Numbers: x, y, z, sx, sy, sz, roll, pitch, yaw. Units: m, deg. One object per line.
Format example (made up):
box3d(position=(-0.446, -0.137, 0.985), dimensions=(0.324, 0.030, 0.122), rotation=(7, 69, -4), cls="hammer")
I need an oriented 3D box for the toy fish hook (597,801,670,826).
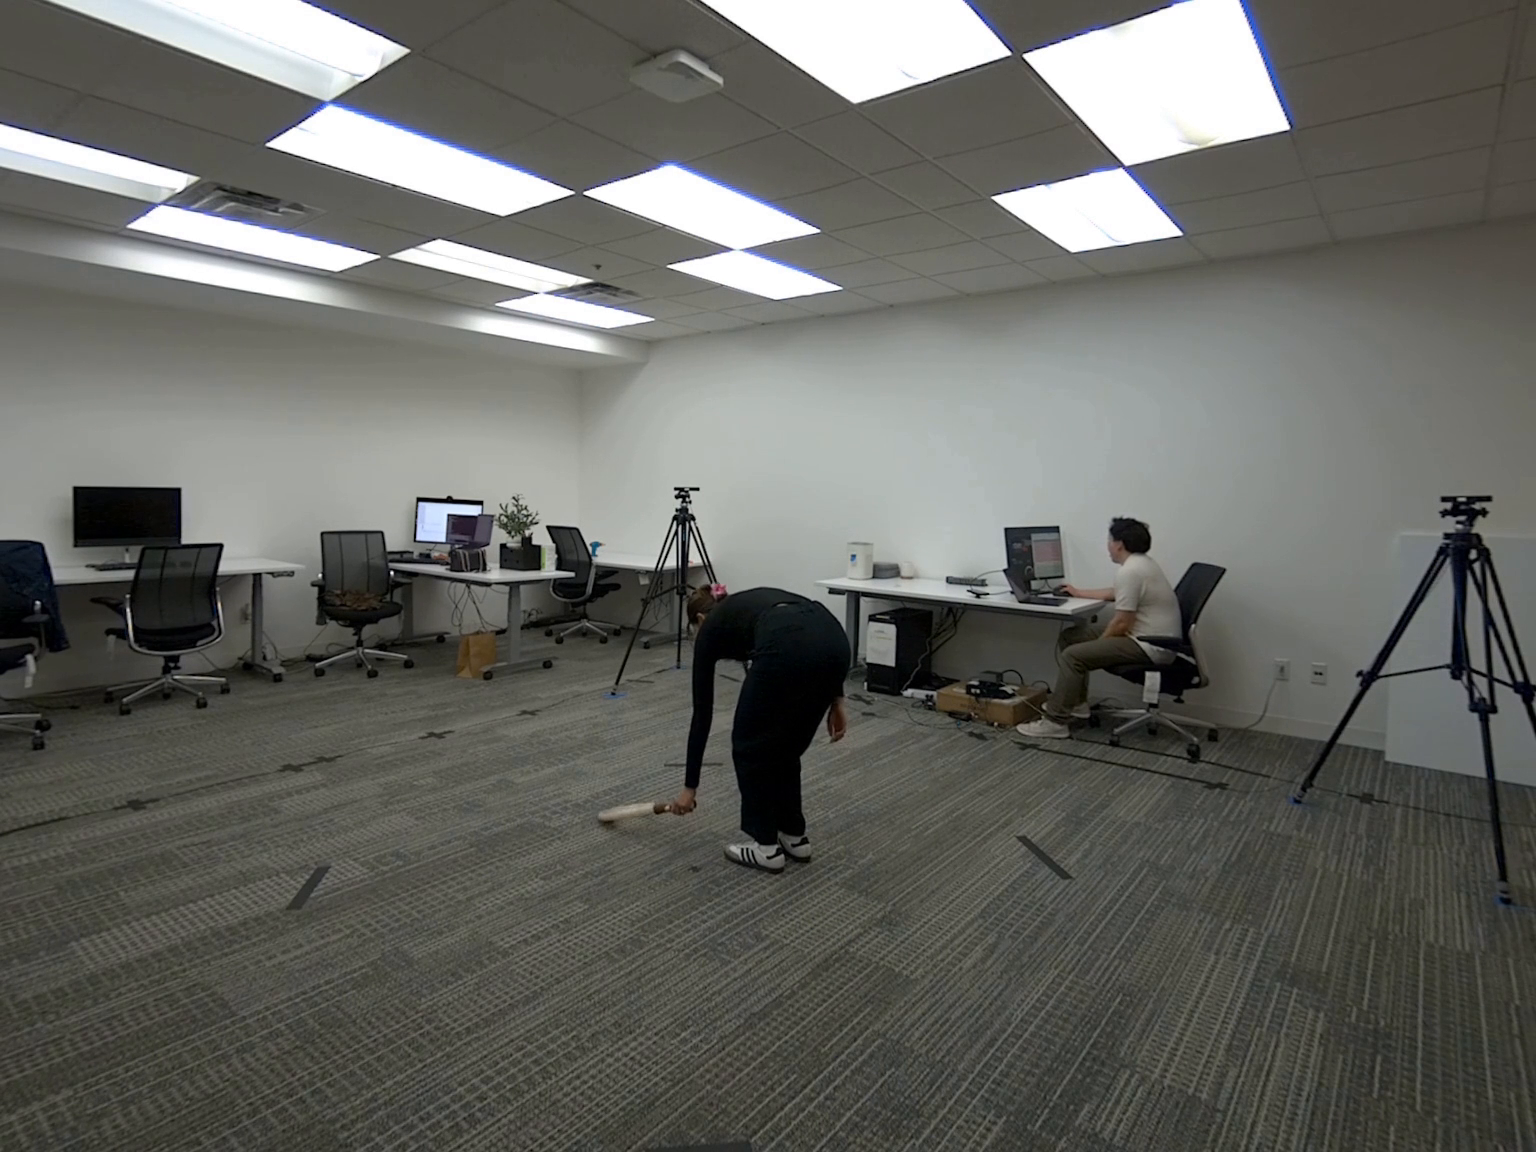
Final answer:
box3d(position=(-0.487, 0.942, 3.472), dimensions=(0.517, 0.048, 0.219), rotation=(-14, -3, 30), cls="toy fish hook")
